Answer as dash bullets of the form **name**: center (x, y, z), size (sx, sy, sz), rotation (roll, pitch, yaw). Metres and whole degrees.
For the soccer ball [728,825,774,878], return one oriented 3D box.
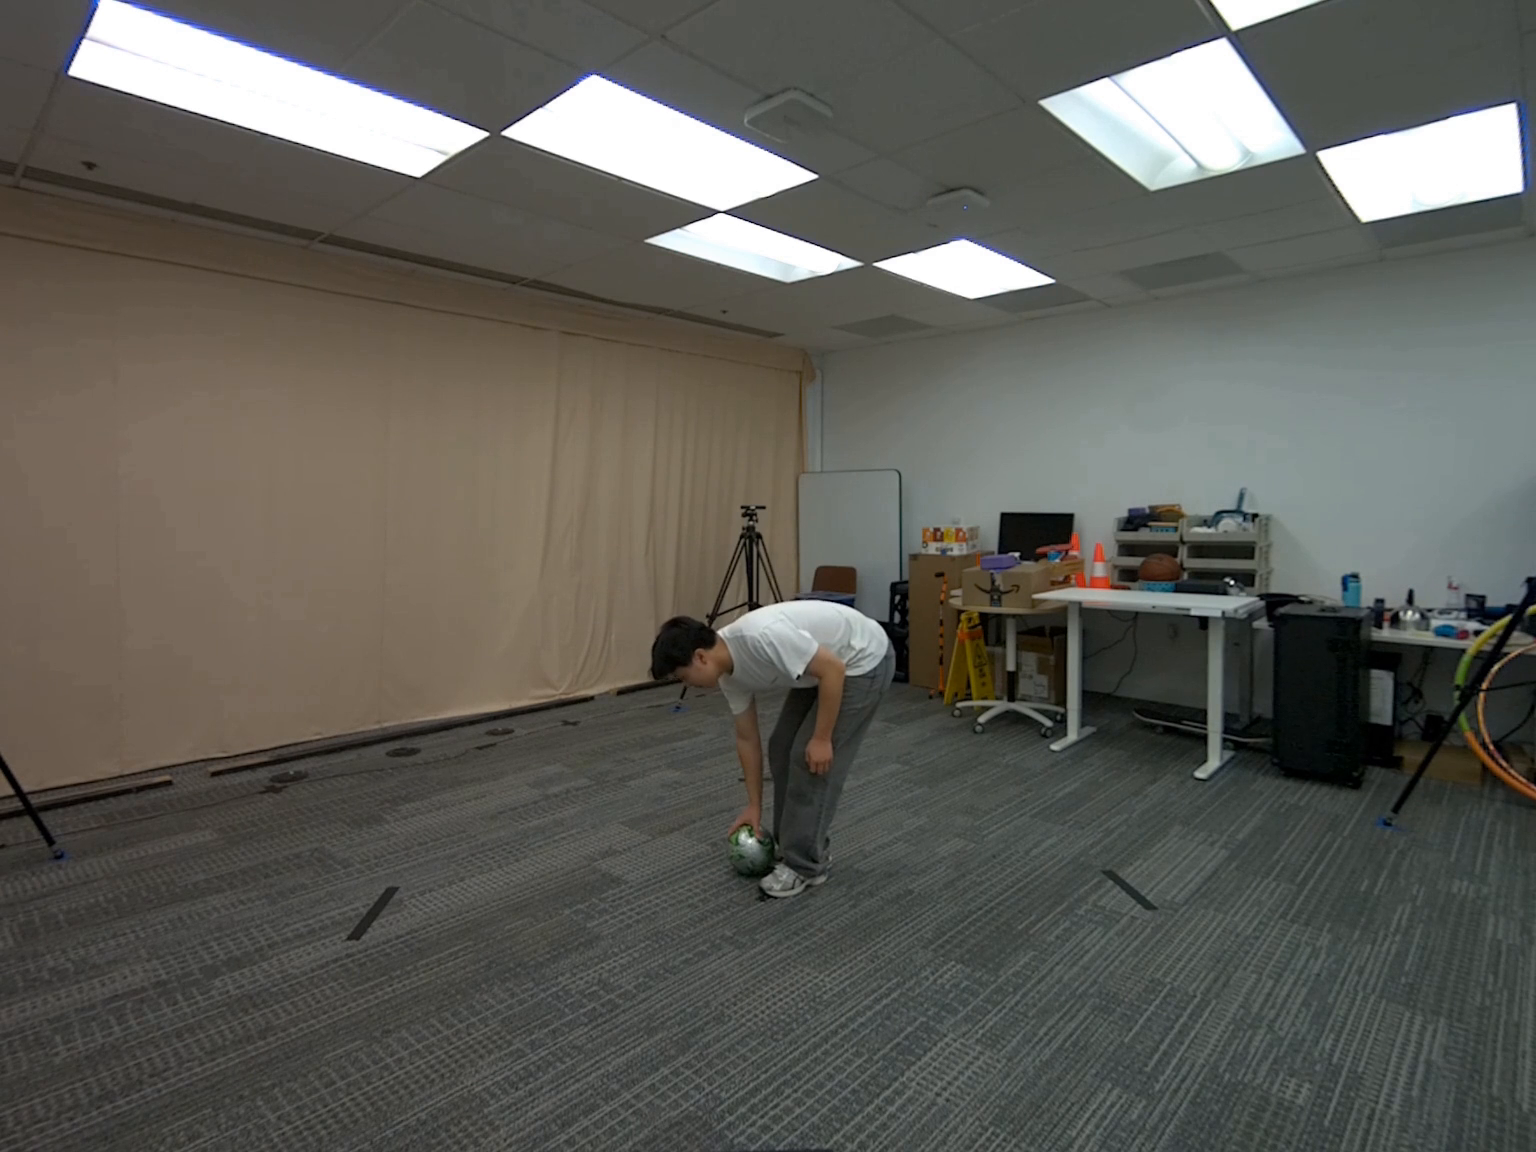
- **soccer ball**: center (-0.059, 1.029, 3.188), size (0.187, 0.187, 0.188), rotation (0, 4, -2)
